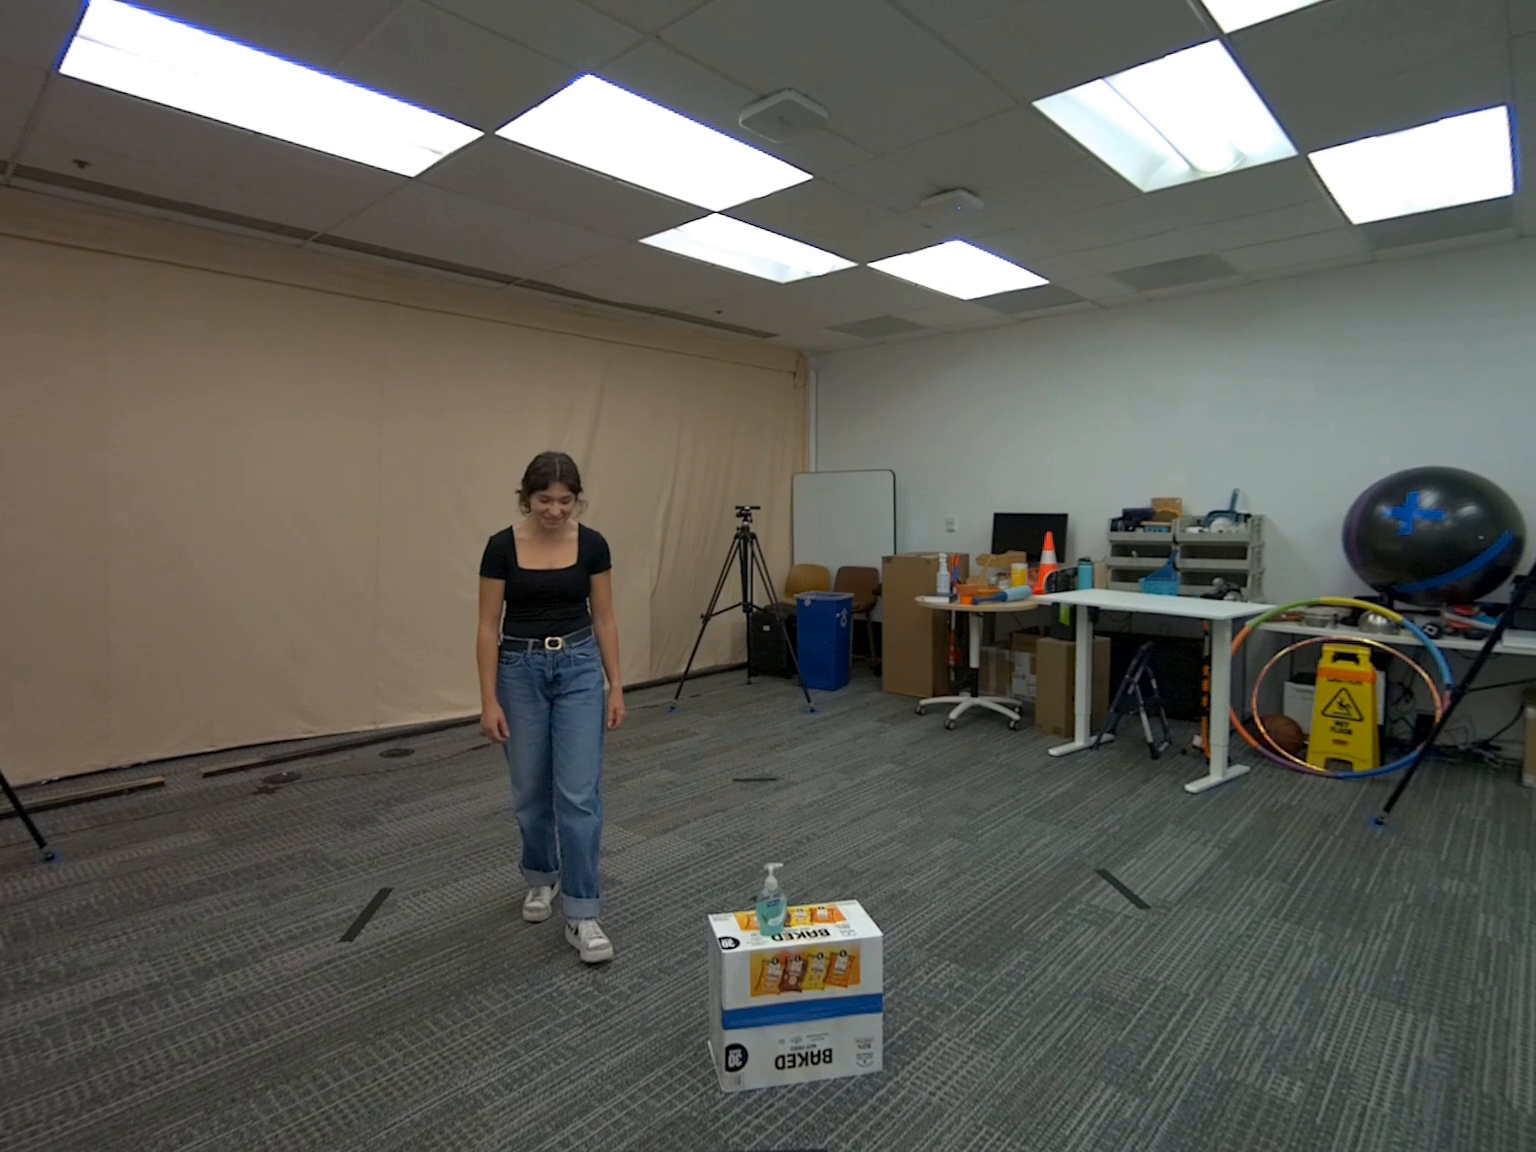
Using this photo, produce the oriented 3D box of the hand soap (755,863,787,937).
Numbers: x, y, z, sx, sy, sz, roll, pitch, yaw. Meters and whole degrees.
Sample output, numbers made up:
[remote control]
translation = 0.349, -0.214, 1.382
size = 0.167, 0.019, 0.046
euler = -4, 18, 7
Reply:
[hand soap]
translation = 0.016, 0.799, 2.078
size = 0.082, 0.168, 0.044
euler = -1, 0, -25
